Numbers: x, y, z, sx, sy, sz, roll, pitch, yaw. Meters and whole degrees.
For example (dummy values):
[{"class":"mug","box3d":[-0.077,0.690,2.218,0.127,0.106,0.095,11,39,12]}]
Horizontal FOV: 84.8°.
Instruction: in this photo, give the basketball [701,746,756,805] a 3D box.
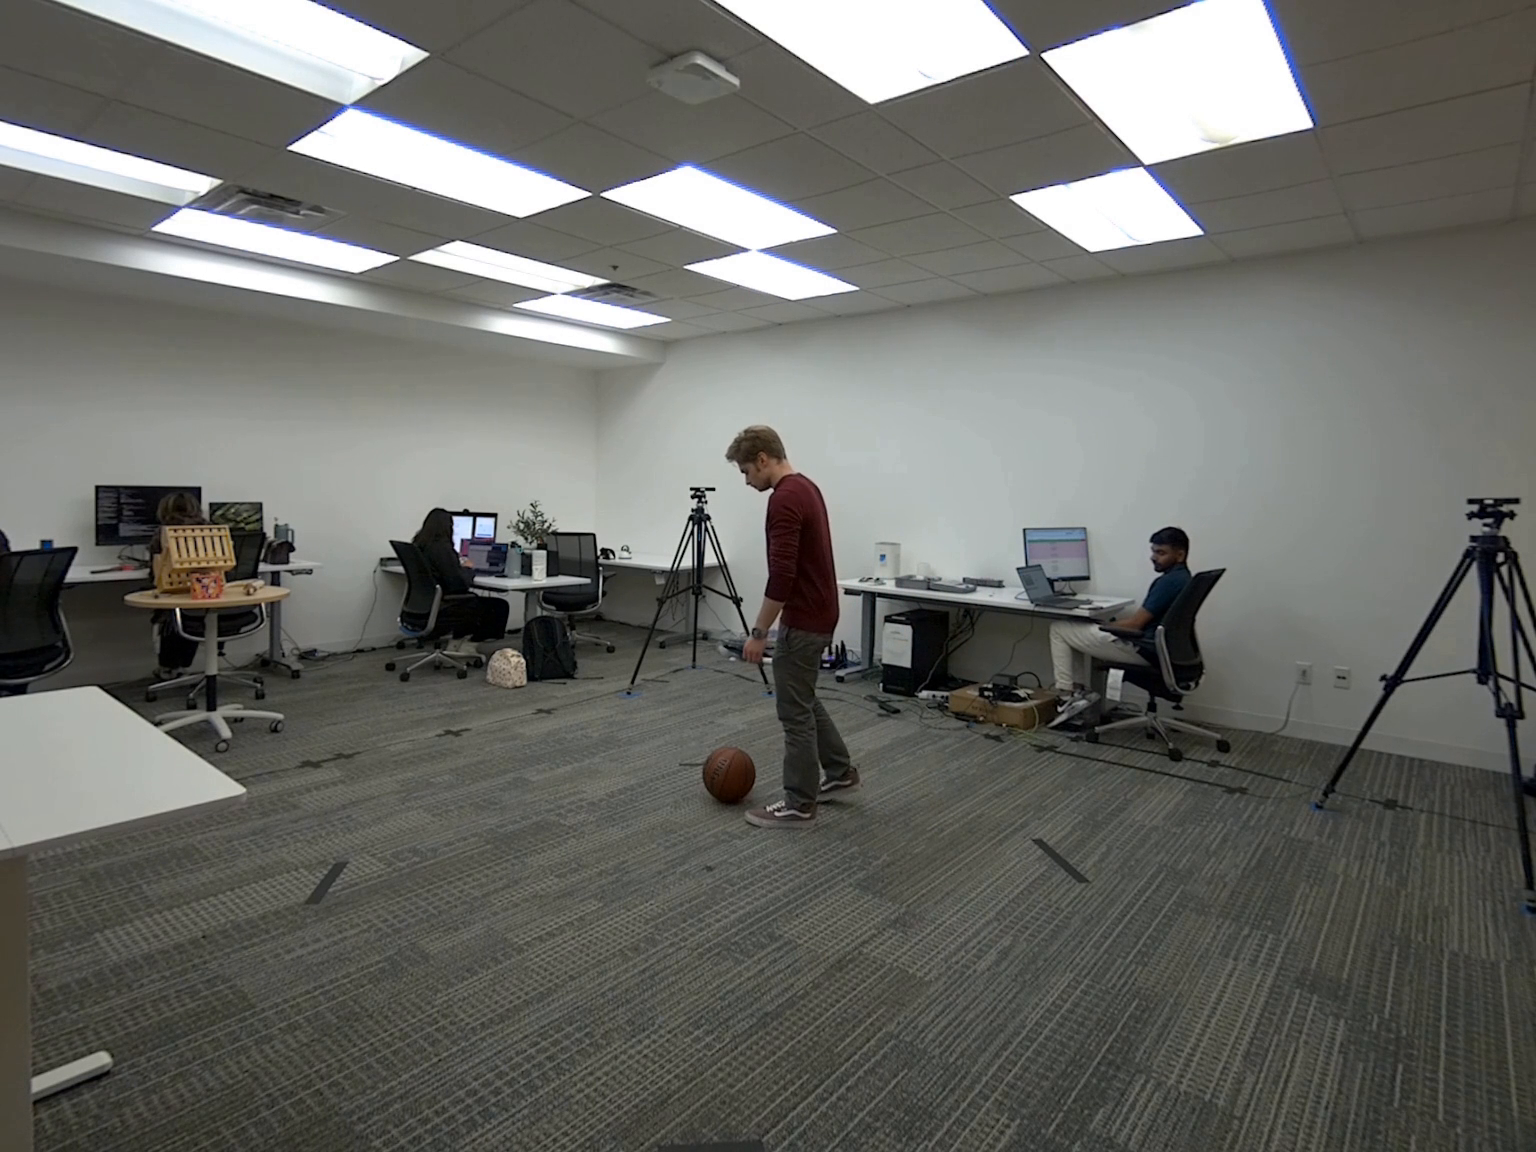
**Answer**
[{"class":"basketball","box3d":[-0.185,0.878,3.799,0.235,0.235,0.237,1,4,-2]}]
